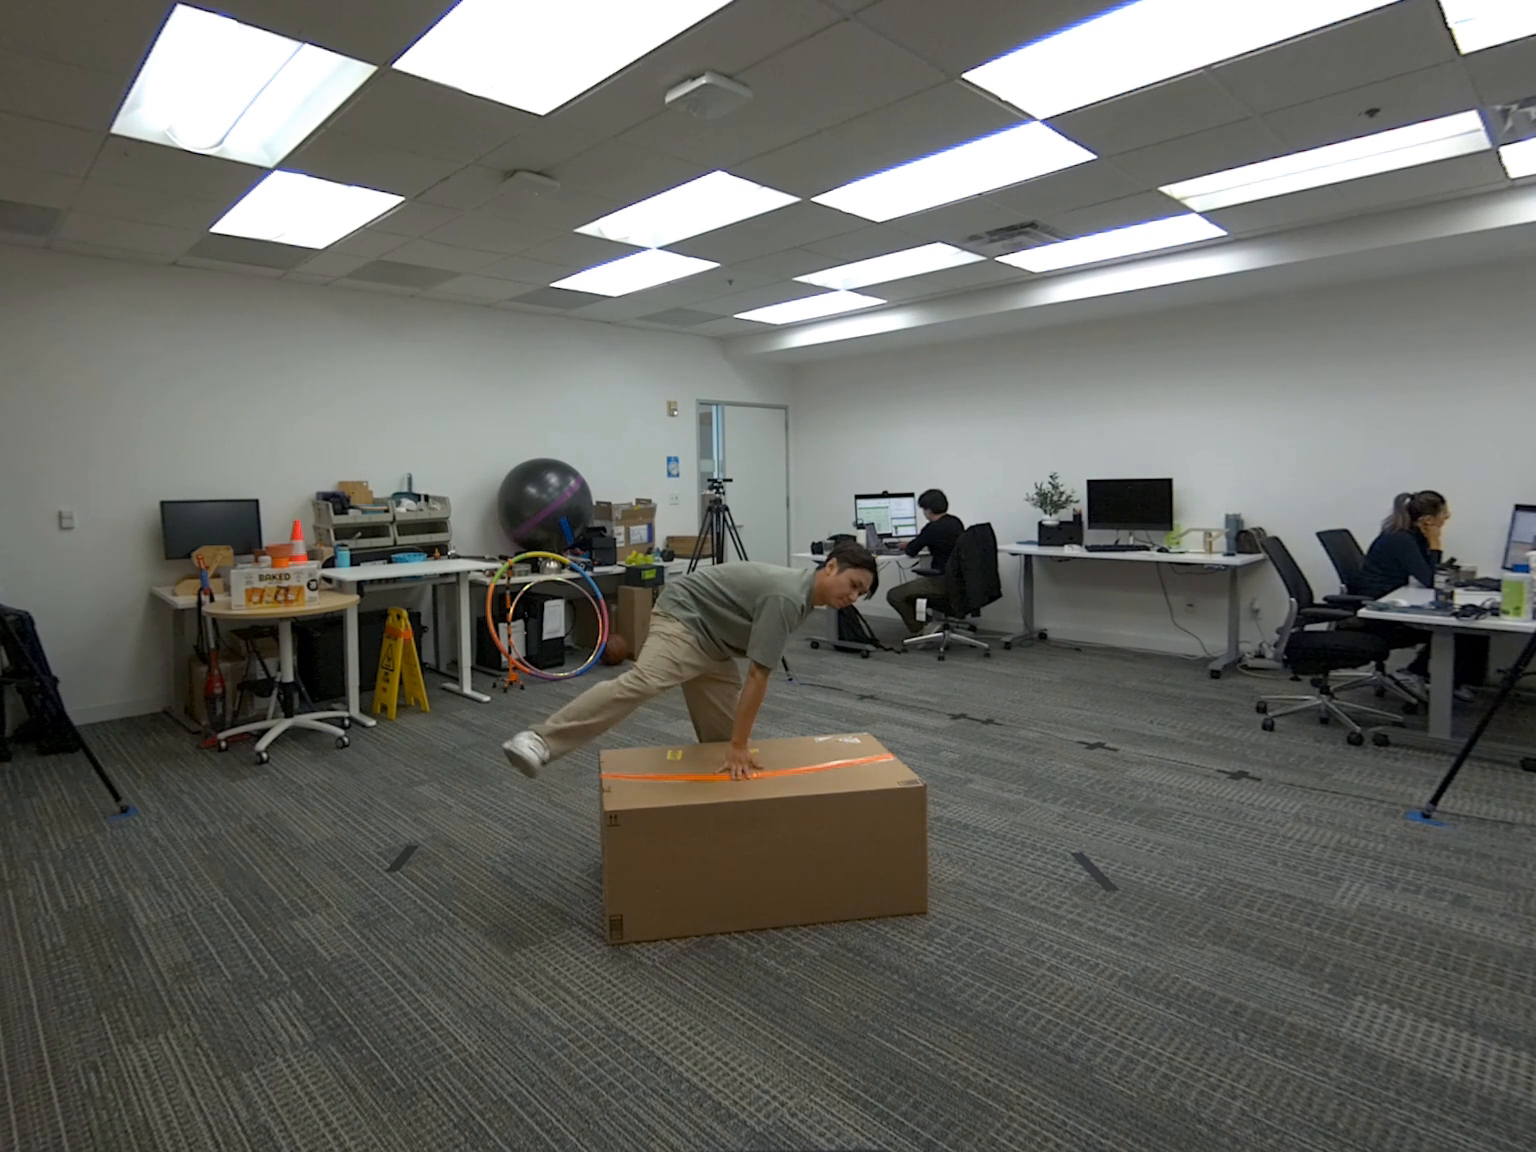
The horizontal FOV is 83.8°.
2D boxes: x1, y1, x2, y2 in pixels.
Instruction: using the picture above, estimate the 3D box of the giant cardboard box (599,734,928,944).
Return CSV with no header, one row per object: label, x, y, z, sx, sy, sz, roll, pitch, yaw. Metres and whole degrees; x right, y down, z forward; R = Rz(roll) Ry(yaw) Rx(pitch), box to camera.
giant cardboard box,-0.051,0.855,2.911,1.017,0.424,0.585,-2,5,-10
